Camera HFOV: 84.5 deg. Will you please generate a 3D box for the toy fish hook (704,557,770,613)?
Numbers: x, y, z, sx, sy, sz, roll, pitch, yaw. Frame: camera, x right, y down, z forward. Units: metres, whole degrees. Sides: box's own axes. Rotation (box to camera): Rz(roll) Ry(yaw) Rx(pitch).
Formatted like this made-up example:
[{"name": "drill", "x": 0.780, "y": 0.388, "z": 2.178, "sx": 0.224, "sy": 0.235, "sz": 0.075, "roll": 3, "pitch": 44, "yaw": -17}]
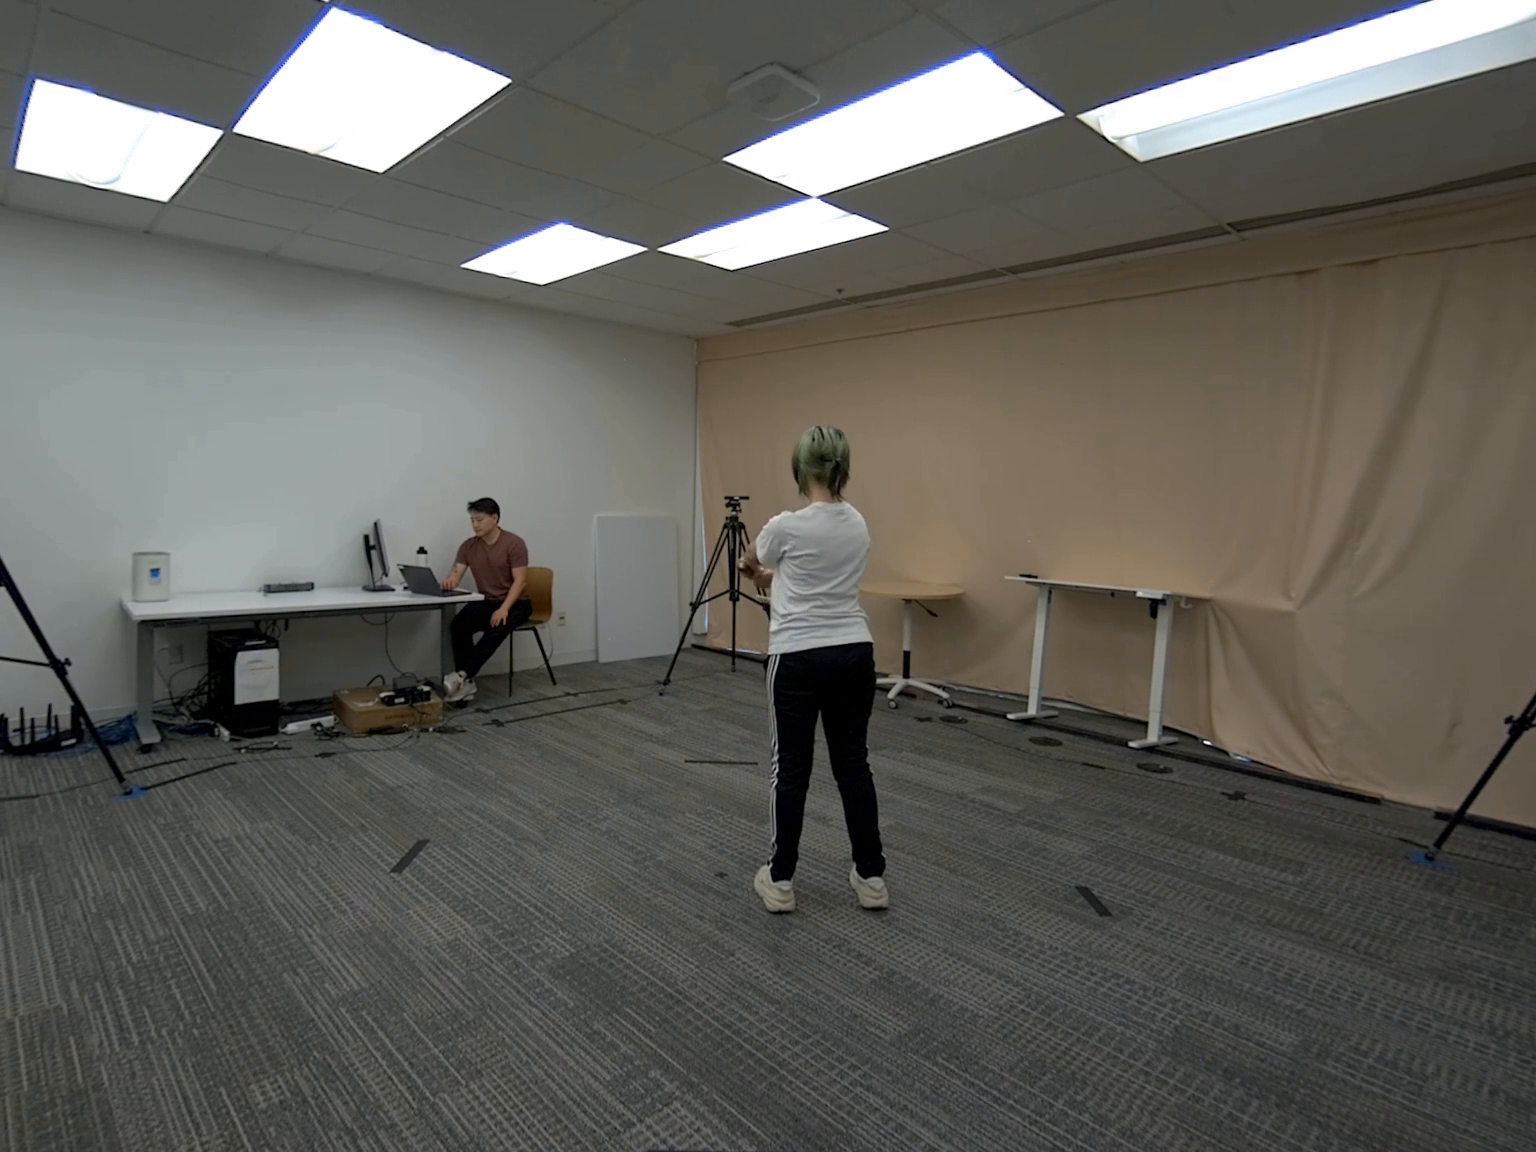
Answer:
[{"name": "toy fish hook", "x": -0.014, "y": 0.044, "z": 3.503, "sx": 0.226, "sy": 0.049, "sz": 0.491, "roll": -28, "pitch": -31, "yaw": 29}]
